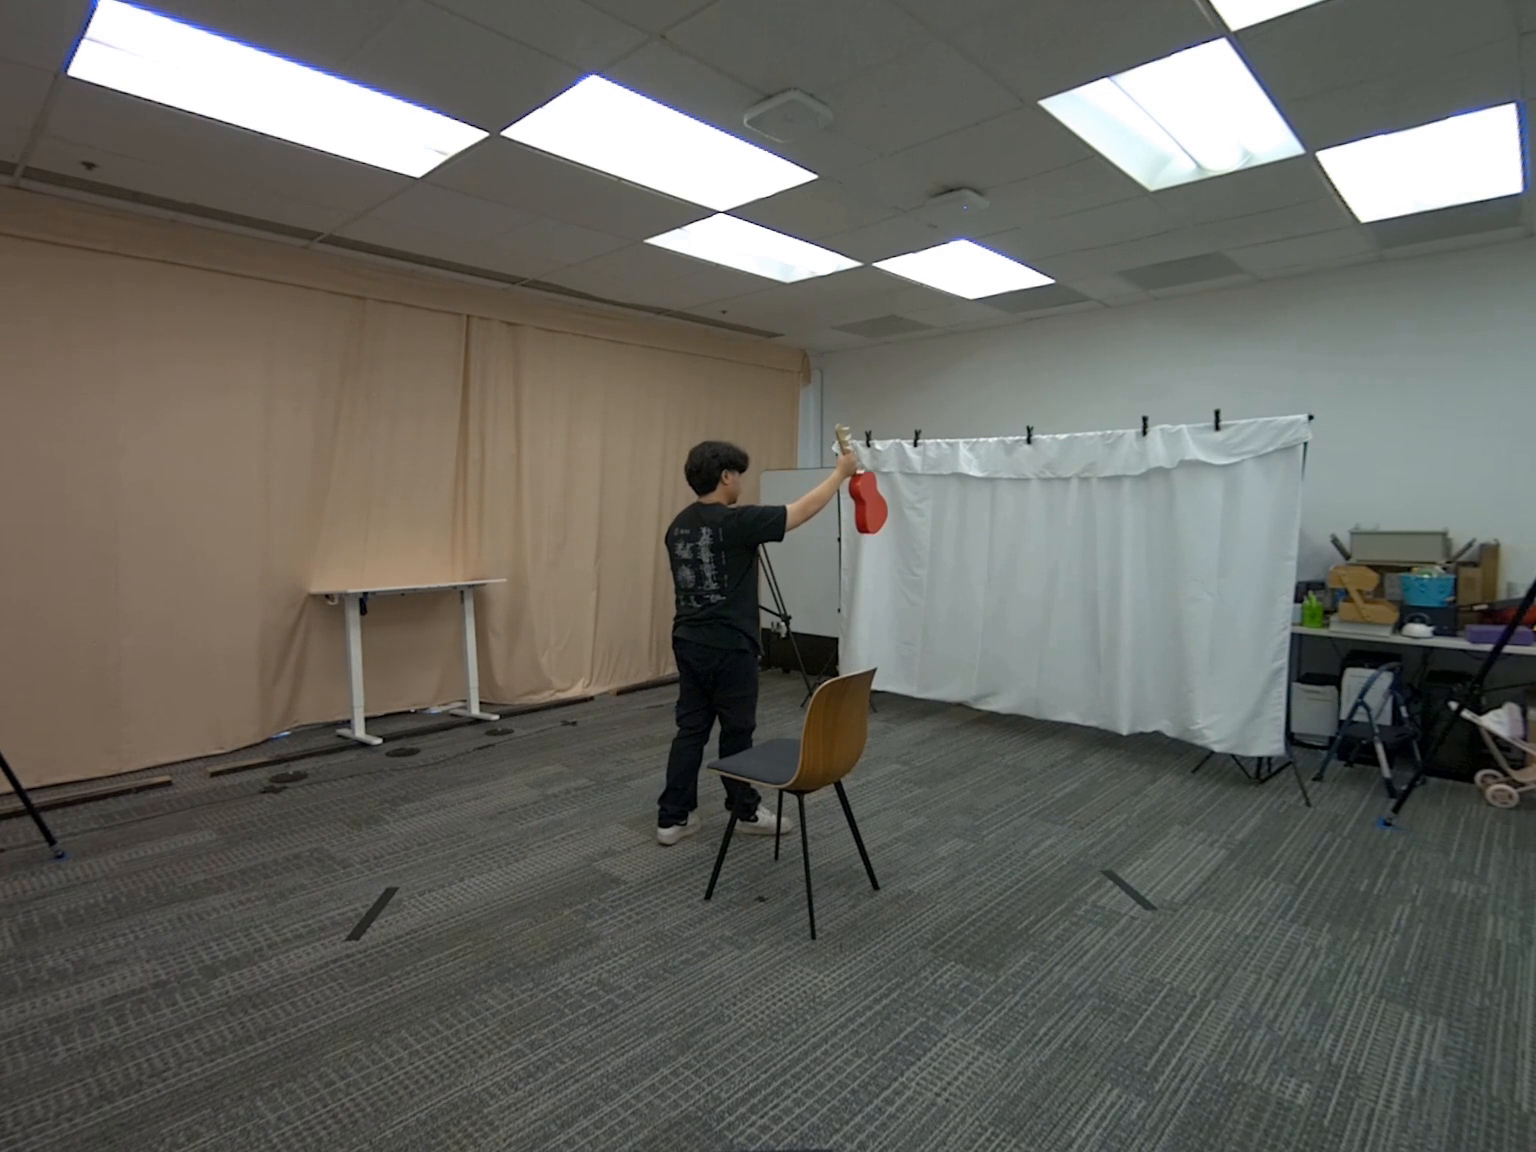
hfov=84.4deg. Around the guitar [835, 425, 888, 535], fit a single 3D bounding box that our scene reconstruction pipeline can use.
[{"bbox_3d":[0.382,-0.399,3.570,0.073,0.485,0.192,-2,38,37],"label":"guitar"}]
